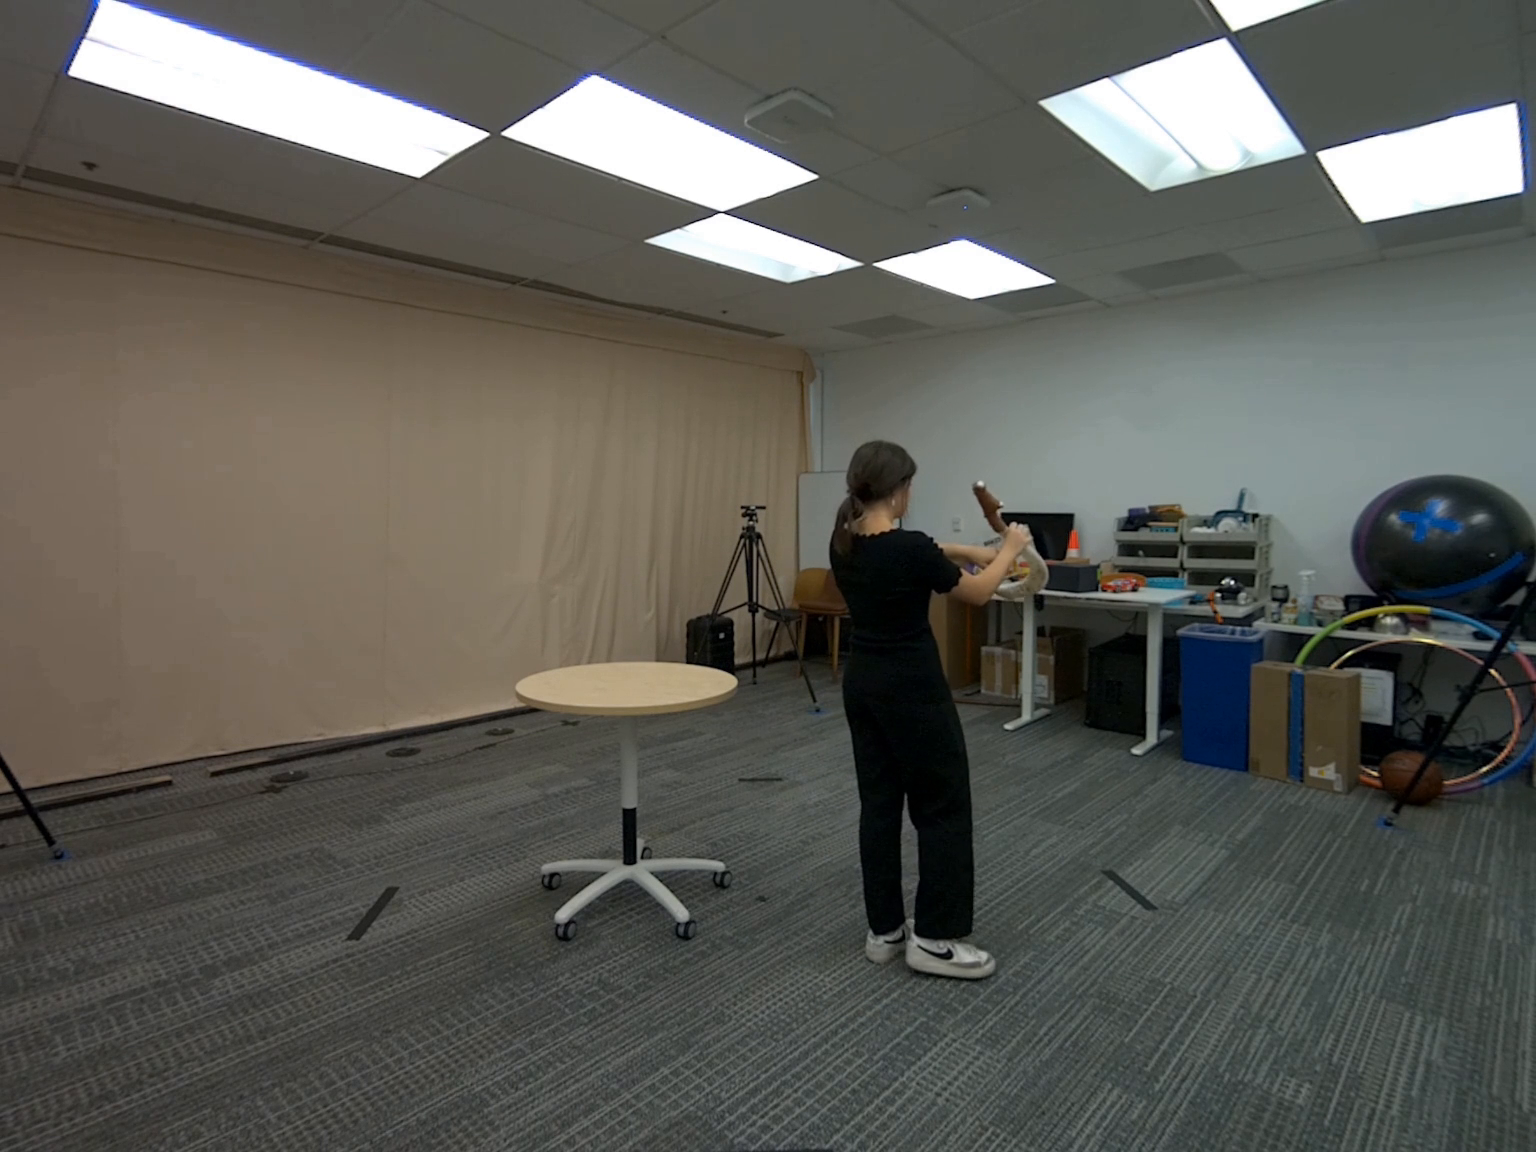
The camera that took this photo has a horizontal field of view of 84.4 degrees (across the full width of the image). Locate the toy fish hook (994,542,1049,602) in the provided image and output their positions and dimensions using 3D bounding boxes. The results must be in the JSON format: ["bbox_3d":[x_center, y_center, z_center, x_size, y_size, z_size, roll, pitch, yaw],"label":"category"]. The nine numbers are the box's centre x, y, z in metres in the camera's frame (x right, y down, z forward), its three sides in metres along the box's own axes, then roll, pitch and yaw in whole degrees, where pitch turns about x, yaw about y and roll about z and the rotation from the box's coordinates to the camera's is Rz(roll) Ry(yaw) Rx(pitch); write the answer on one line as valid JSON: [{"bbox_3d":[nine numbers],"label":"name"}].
[{"bbox_3d":[0.753,-0.093,2.743,0.227,0.494,0.049,-30,25,17],"label":"toy fish hook"}]
